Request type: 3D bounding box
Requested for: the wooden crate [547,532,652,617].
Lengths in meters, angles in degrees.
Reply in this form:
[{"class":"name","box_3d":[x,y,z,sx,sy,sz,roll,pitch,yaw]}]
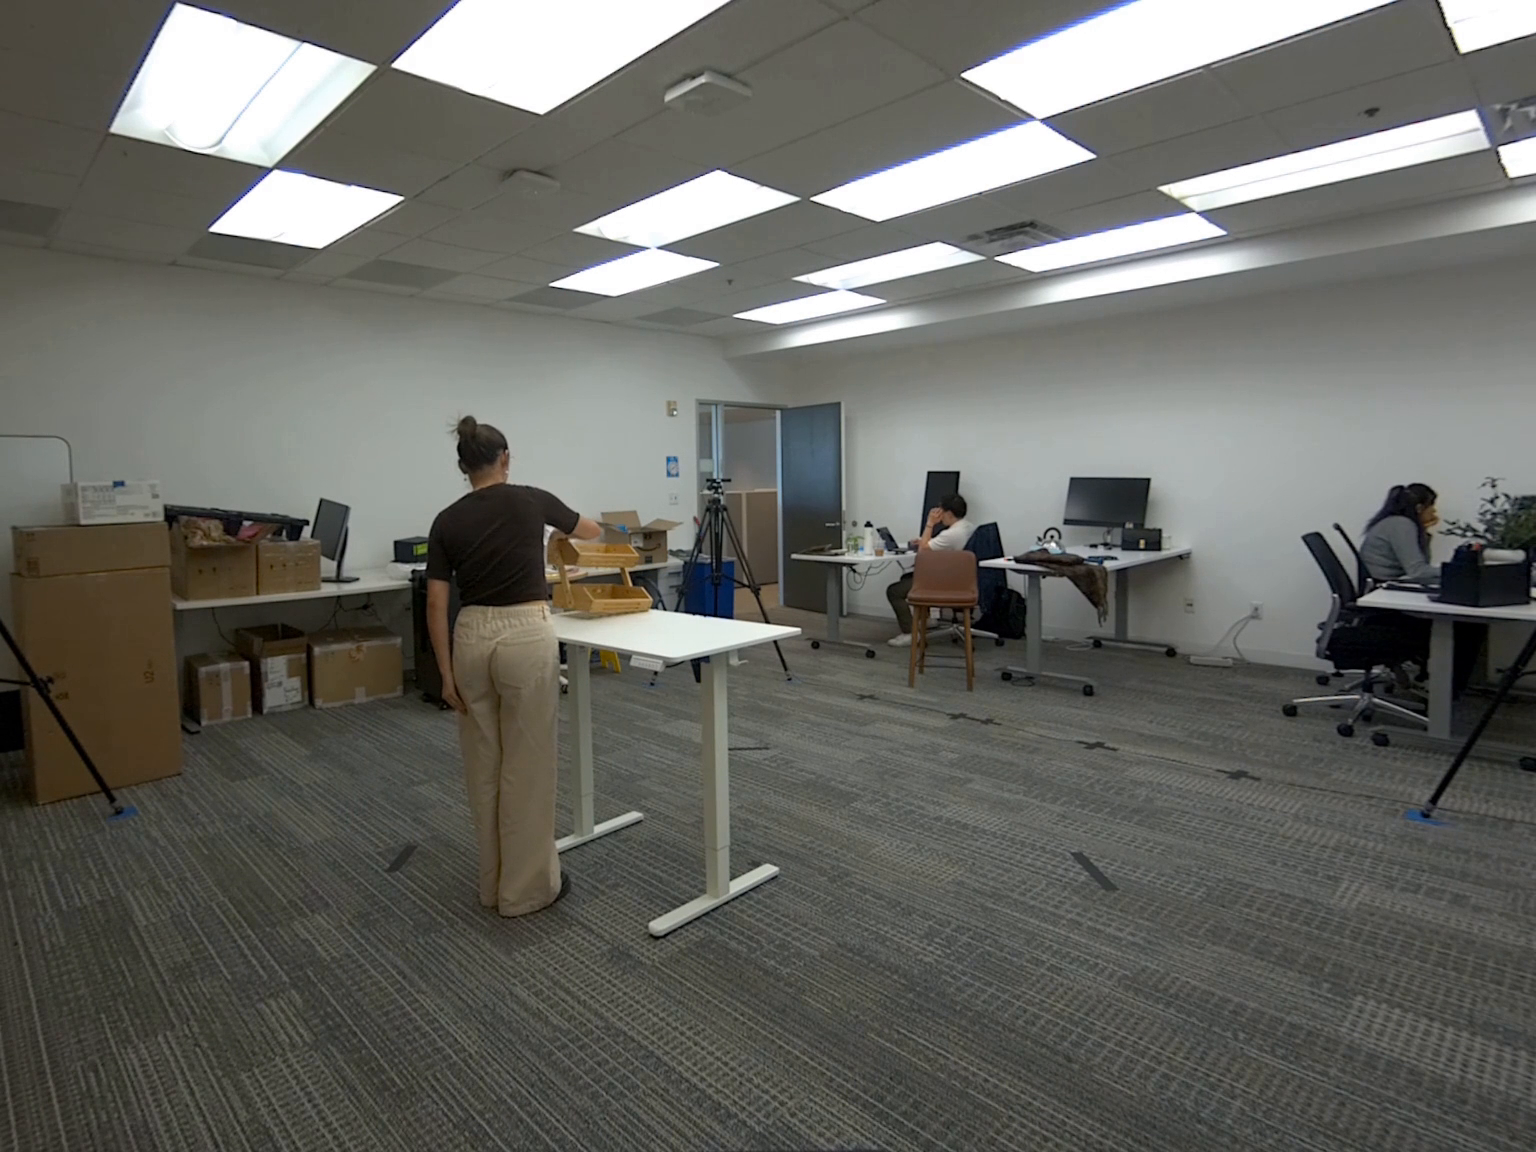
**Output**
[{"class":"wooden crate","box_3d":[-0.661,-0.003,3.370,0.311,0.273,0.315,2,0,42]}]
